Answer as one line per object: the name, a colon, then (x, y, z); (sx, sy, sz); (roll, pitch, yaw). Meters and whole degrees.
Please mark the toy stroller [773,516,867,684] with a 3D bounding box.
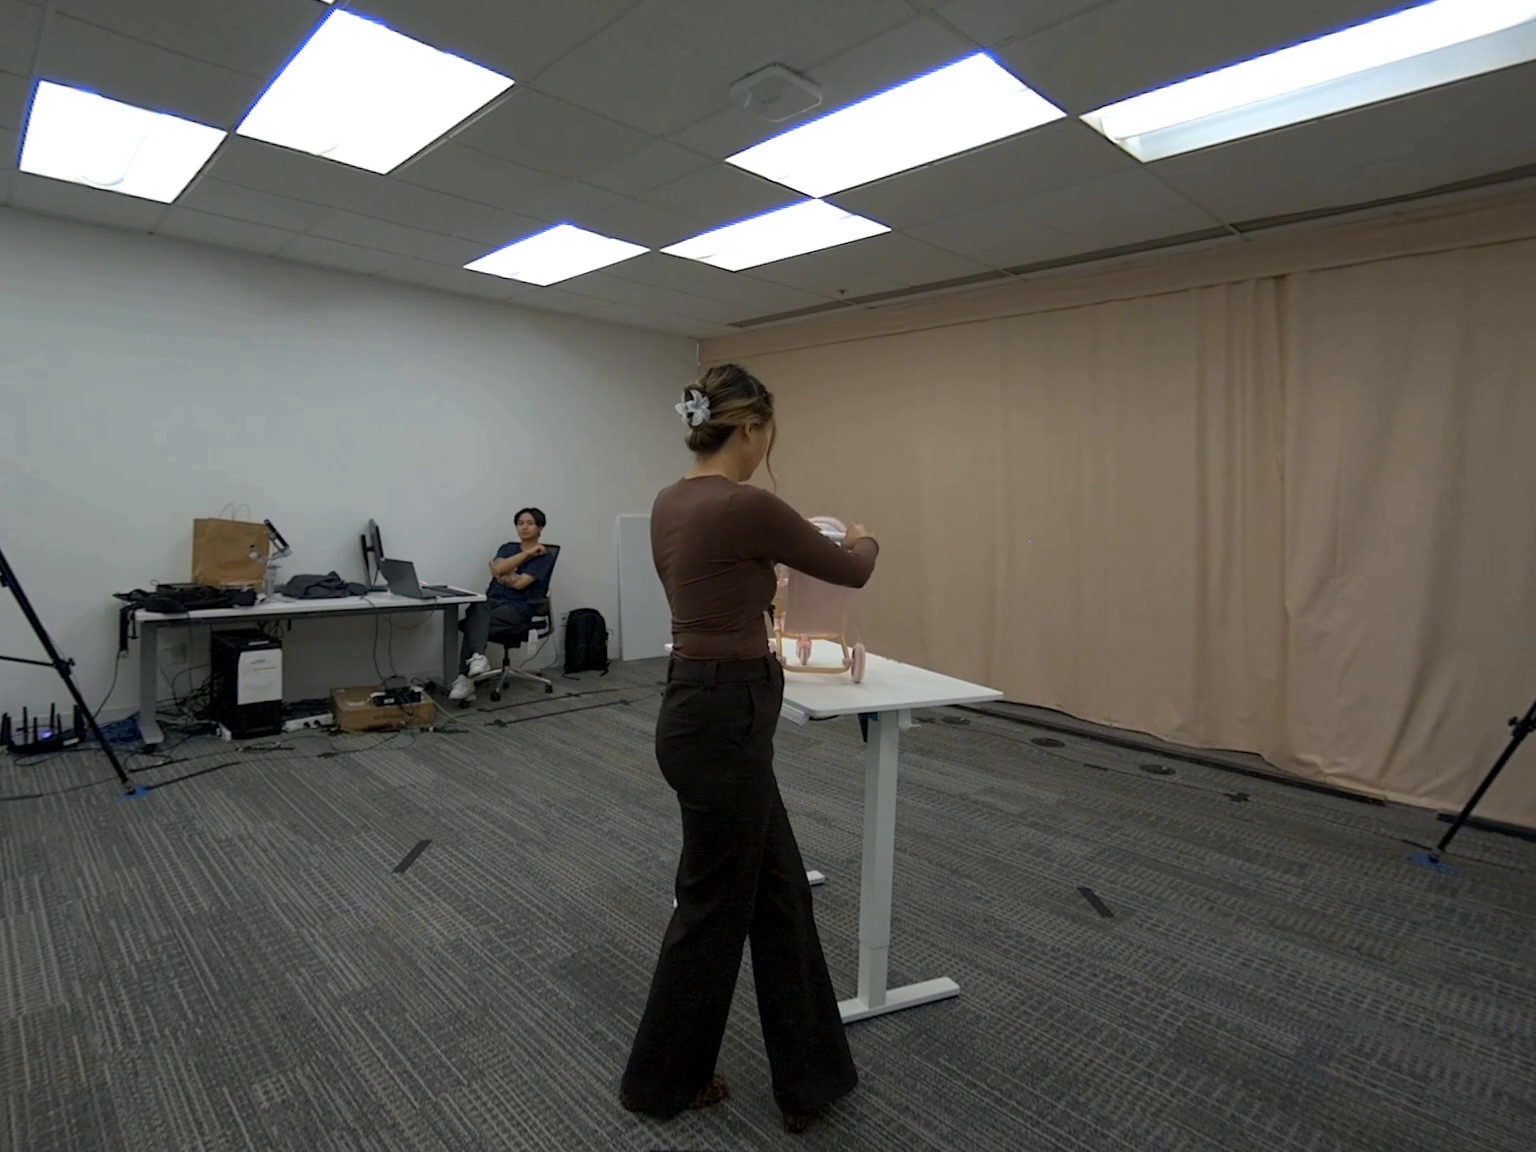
toy stroller: (0.133, 0.073, 2.407); (0.282, 0.528, 0.345); (3, 19, 0)
